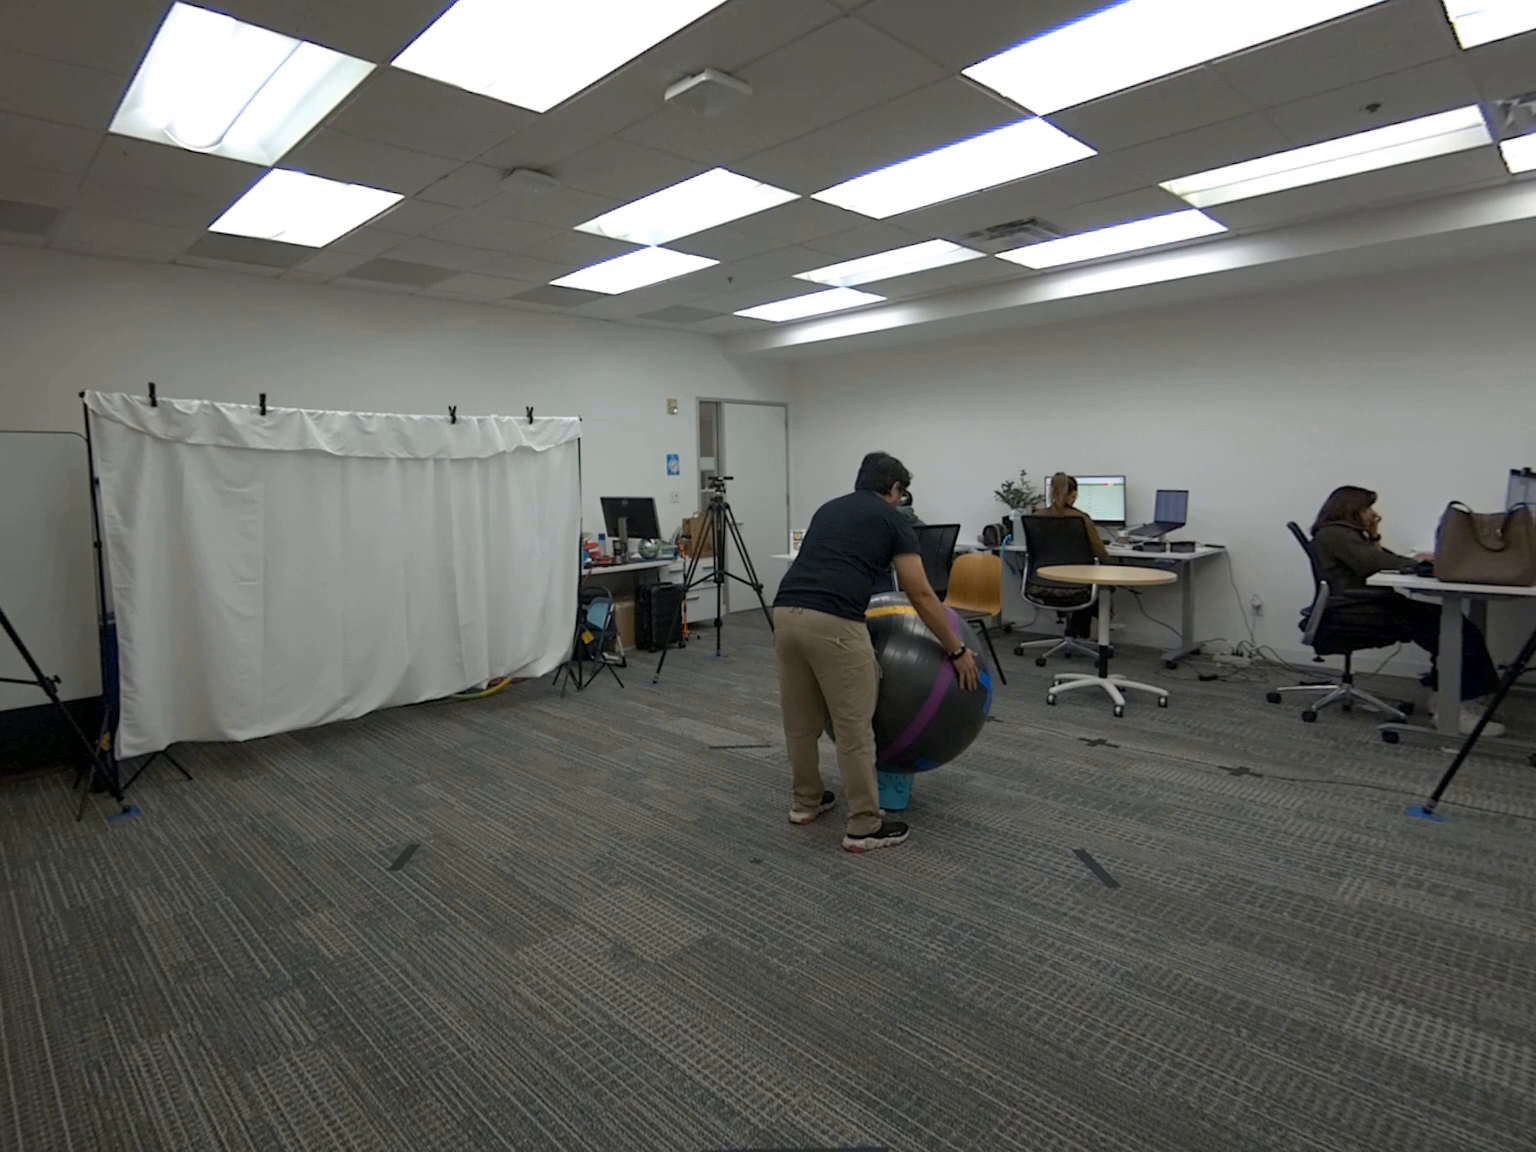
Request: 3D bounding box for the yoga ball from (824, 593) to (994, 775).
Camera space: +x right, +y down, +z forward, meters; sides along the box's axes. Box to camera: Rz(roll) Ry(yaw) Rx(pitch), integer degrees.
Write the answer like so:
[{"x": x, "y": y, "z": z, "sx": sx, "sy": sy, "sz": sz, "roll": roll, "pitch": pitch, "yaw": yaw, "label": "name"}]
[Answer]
[{"x": 0.558, "y": 0.453, "z": 3.629, "sx": 0.757, "sy": 0.755, "sz": 0.762, "roll": -1, "pitch": 5, "yaw": -2, "label": "yoga ball"}]
